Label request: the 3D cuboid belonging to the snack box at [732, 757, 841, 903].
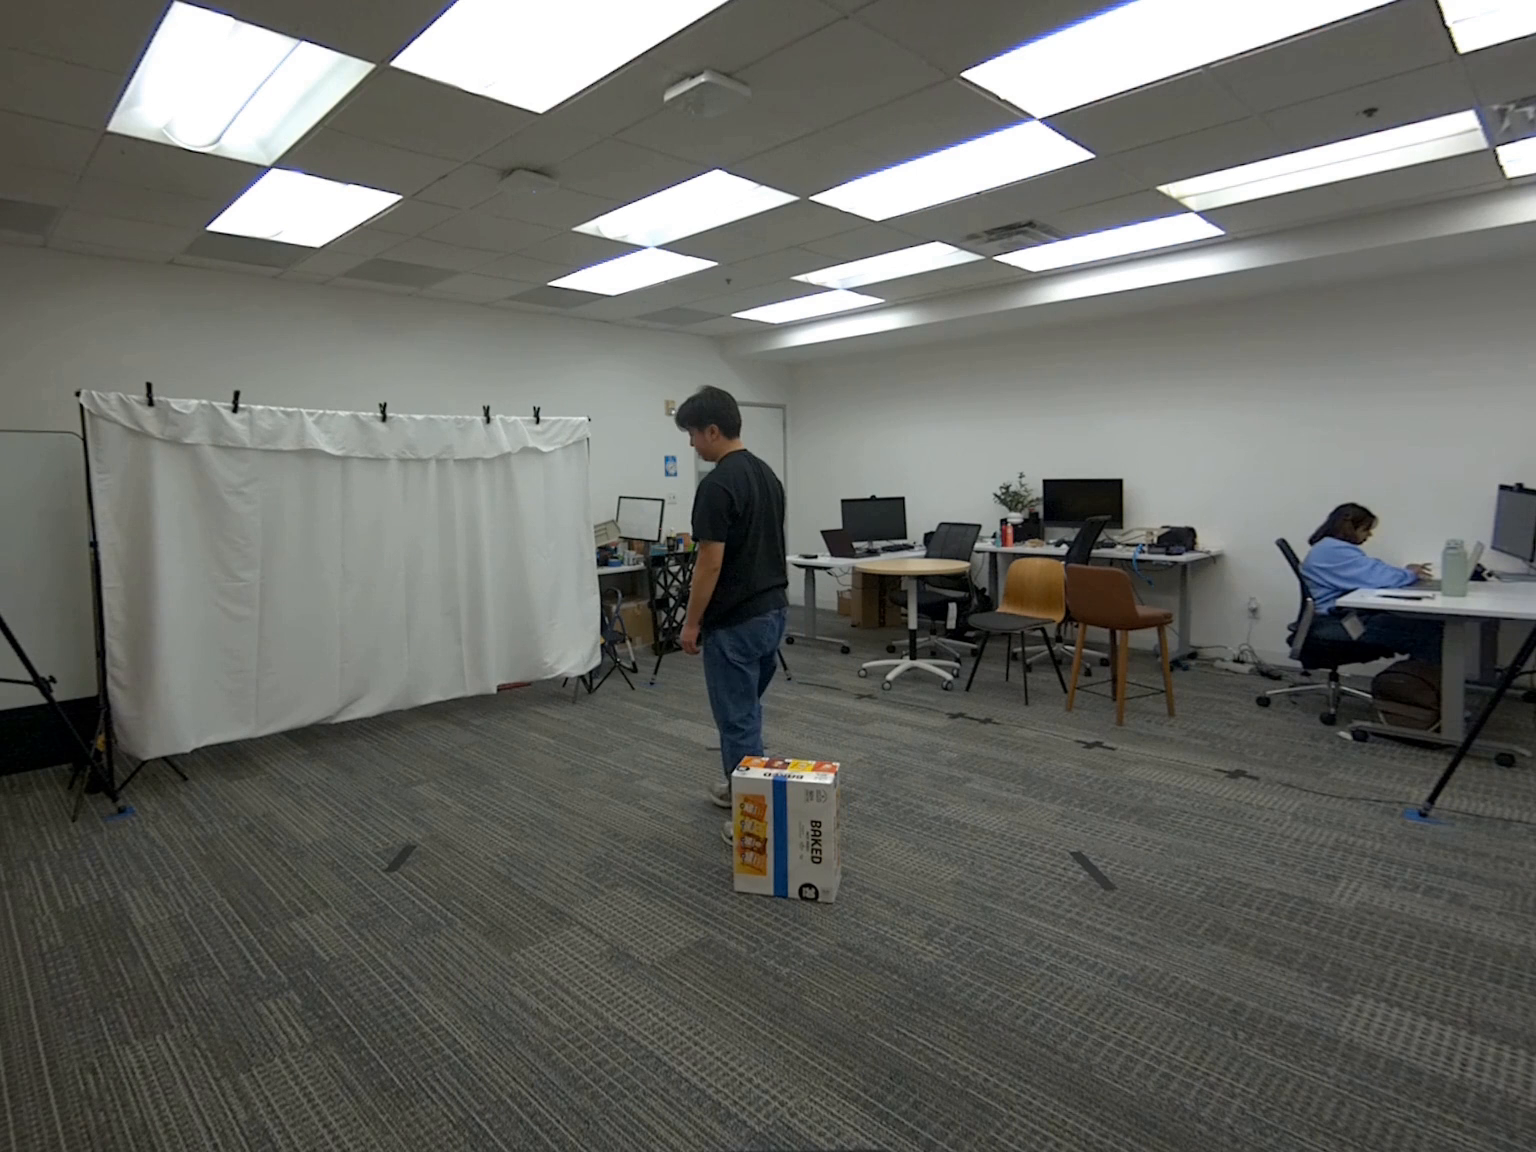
[{"bbox_3d":[0.073,0.857,2.925,0.345,0.403,0.203,0,4,15],"label":"snack box"}]
